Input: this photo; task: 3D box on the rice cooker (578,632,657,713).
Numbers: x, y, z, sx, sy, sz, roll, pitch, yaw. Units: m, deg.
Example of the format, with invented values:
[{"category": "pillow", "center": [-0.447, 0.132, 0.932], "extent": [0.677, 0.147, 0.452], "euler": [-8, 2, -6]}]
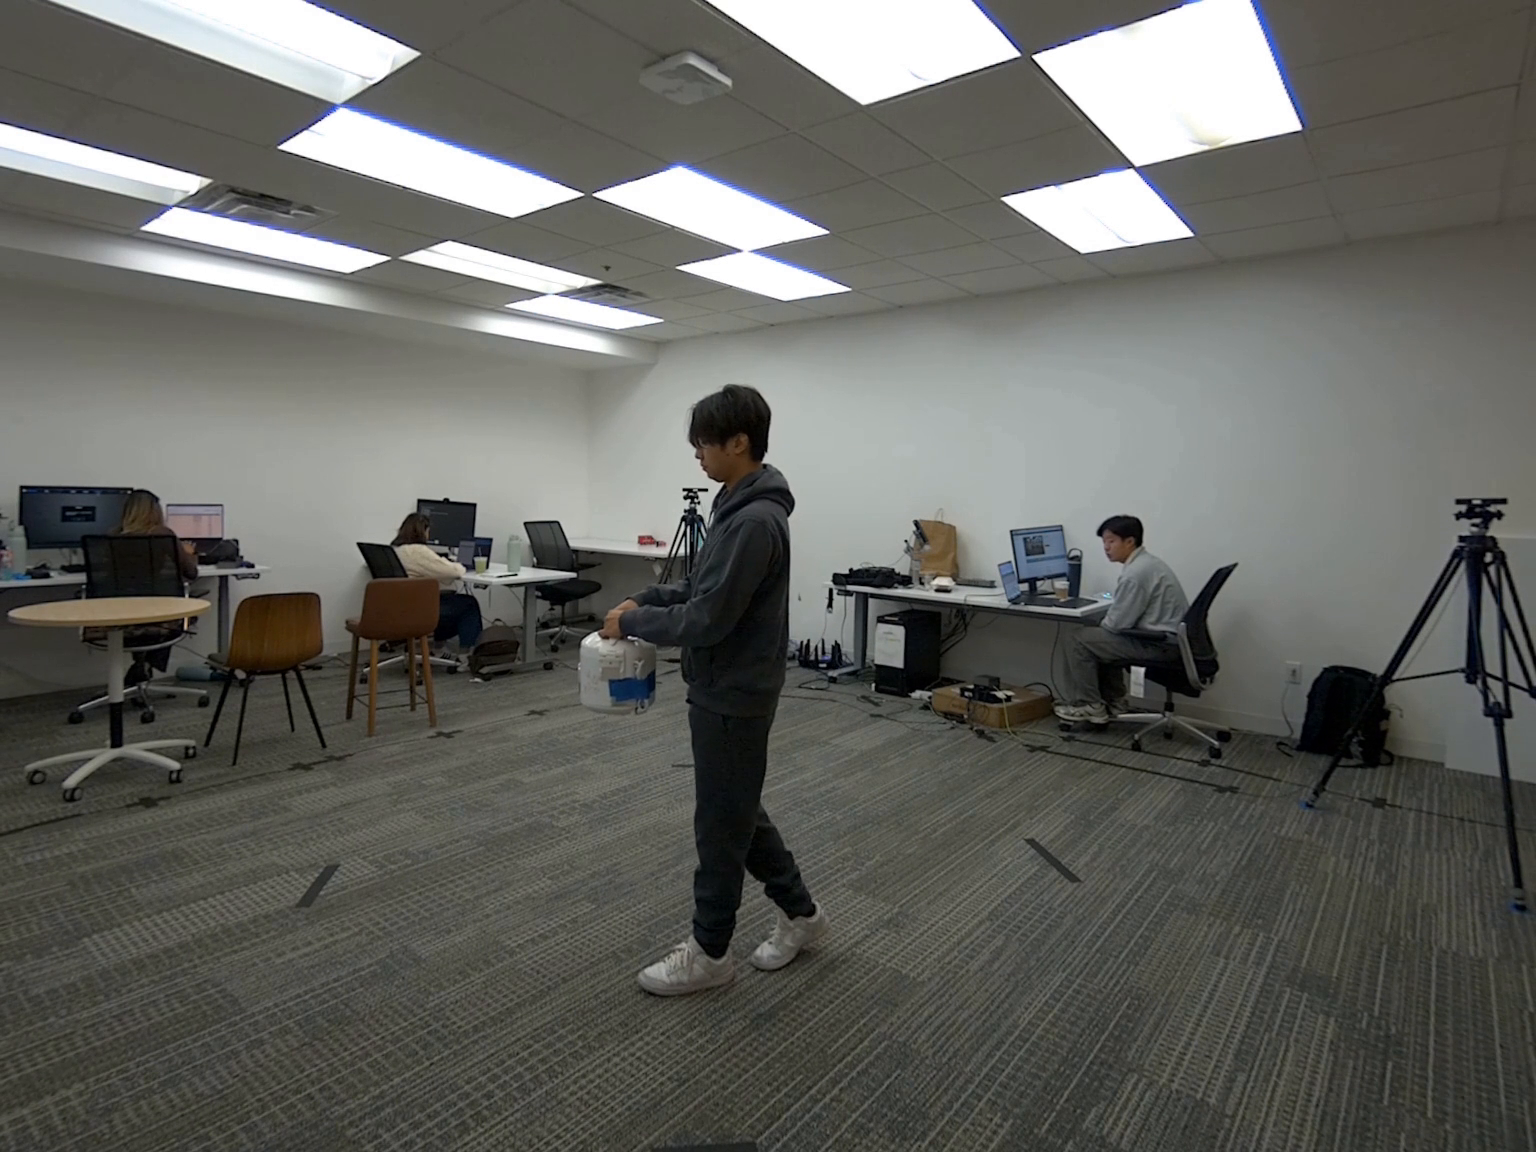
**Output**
[{"category": "rice cooker", "center": [-0.434, 0.256, 2.379], "extent": [0.218, 0.231, 0.221], "euler": [2, 6, 3]}]
